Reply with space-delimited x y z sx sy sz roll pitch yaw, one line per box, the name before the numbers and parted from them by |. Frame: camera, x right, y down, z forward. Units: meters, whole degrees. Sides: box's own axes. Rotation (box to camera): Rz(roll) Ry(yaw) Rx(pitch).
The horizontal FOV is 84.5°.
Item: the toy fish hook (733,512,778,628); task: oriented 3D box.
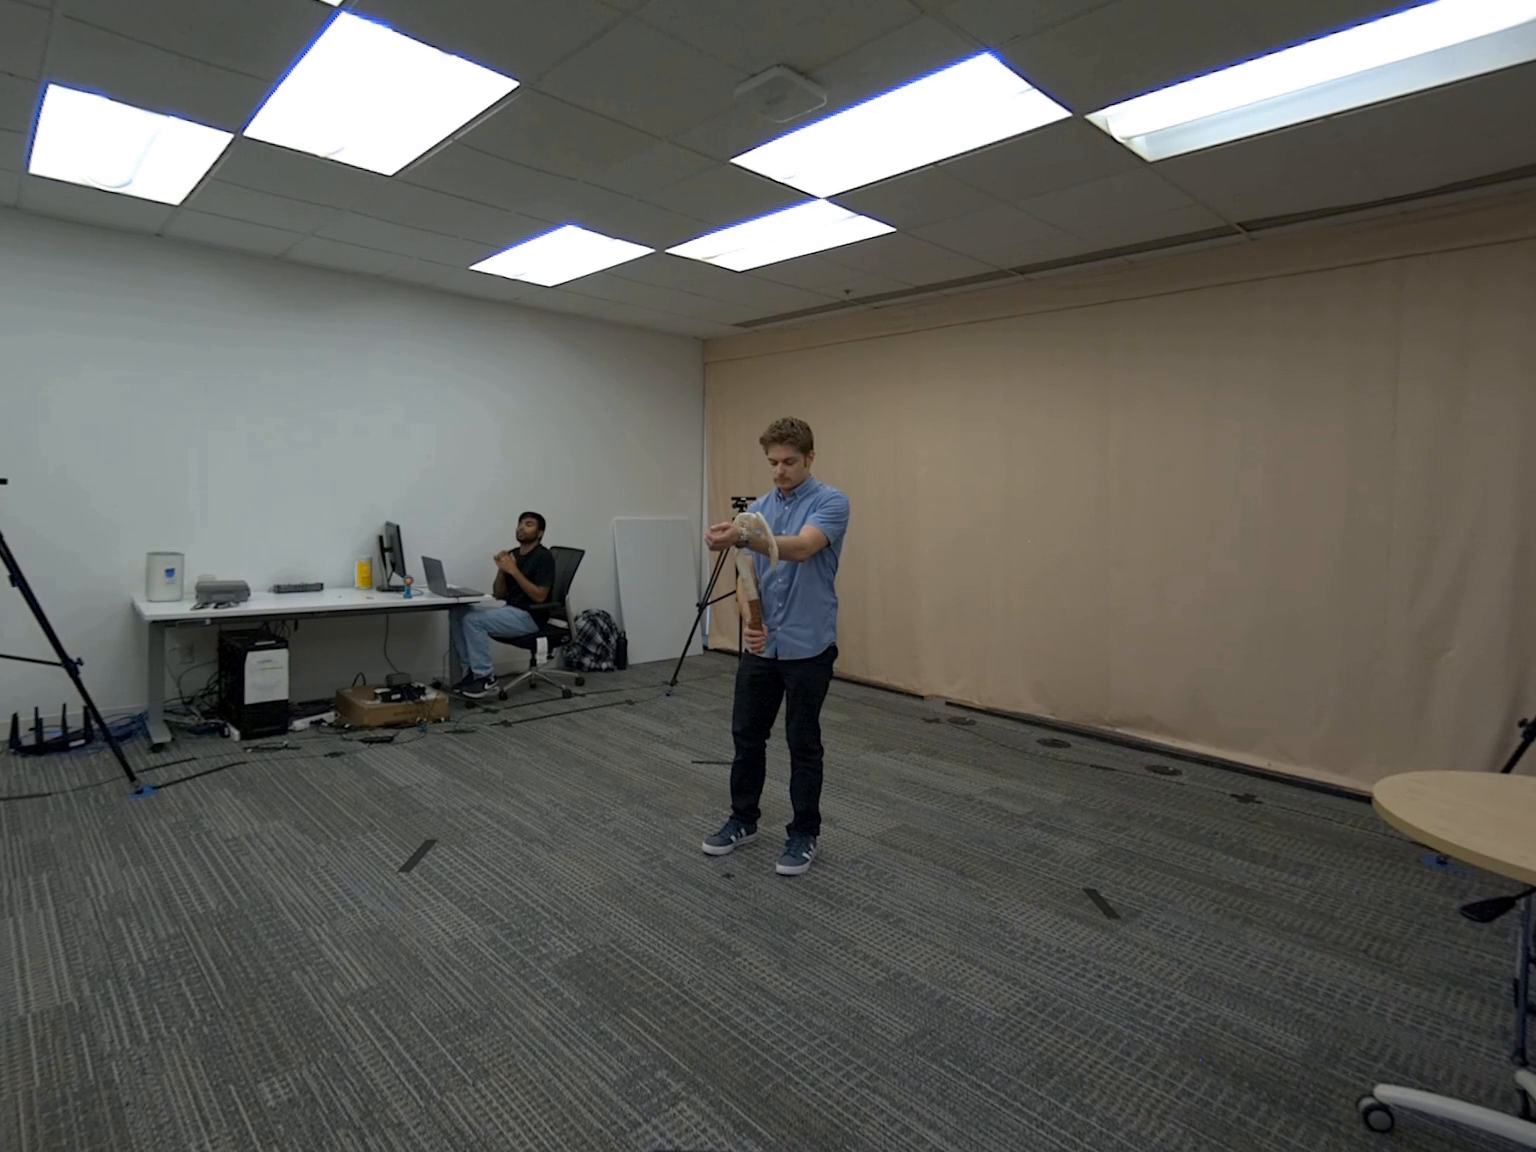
toy fish hook | -0.041 0.028 2.923 0.047 0.503 0.230 -13 10 -34
